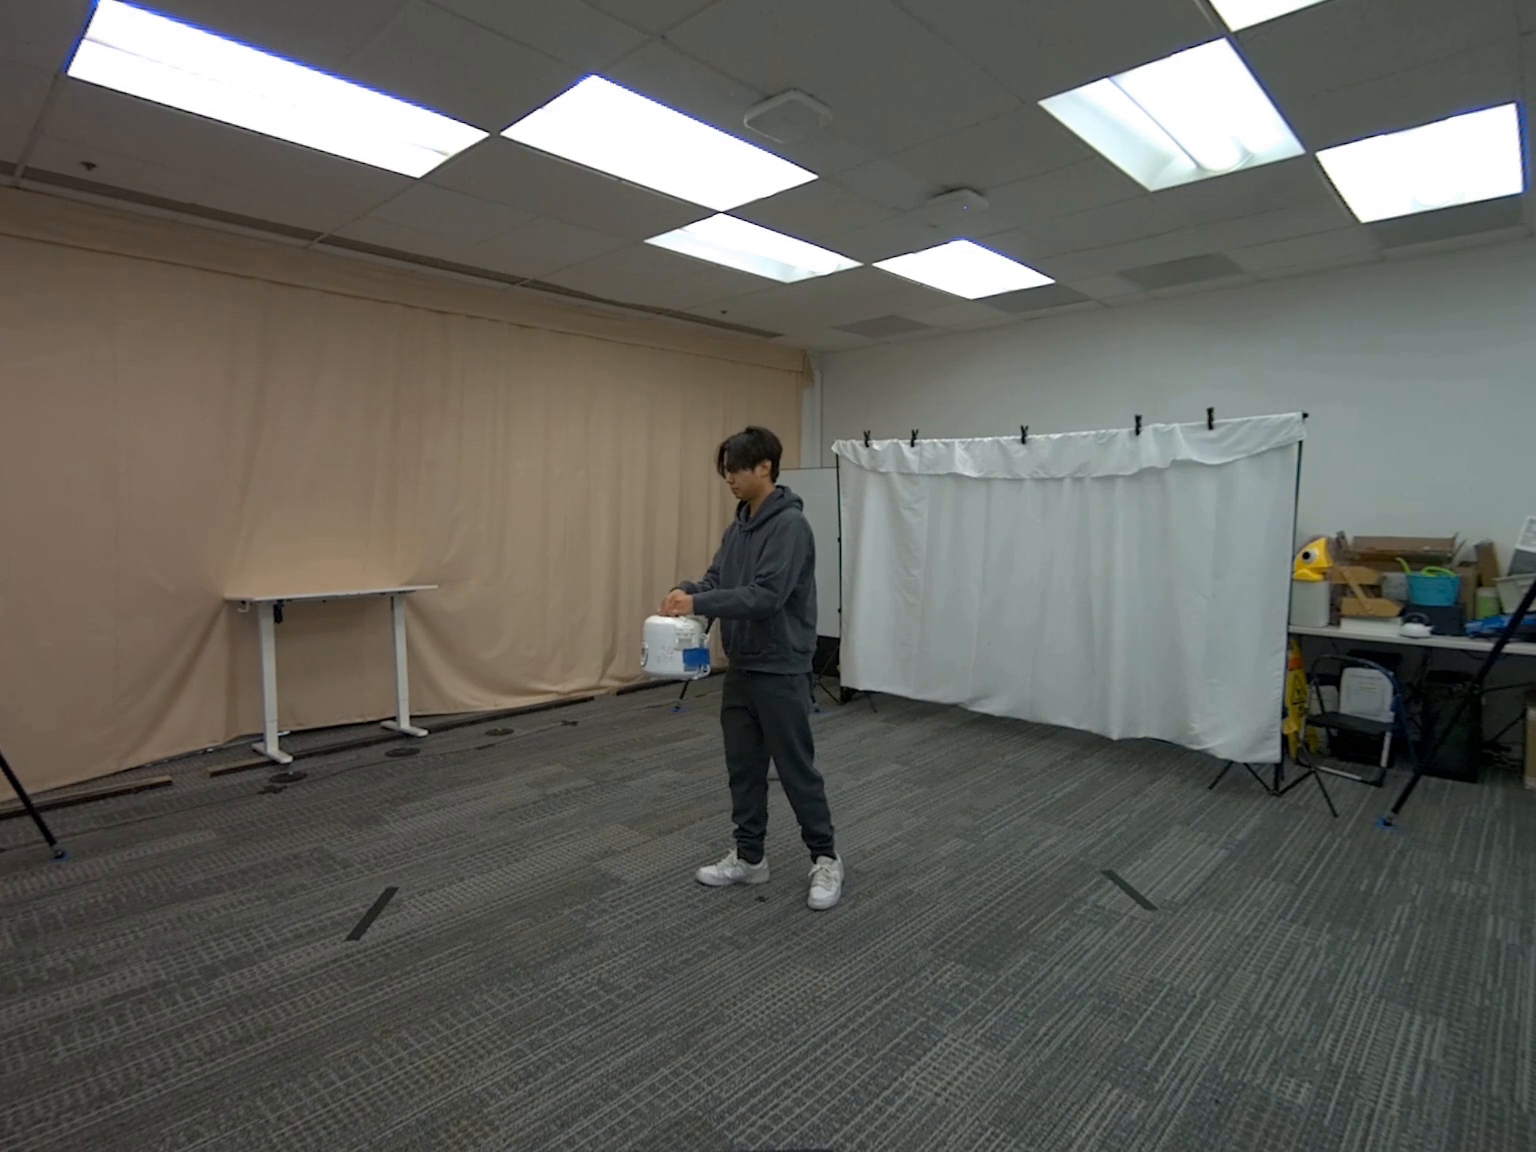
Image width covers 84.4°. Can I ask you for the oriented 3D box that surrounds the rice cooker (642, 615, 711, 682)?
[{"bbox_3d":[-0.317,0.227,2.882,0.212,0.233,0.226,5,-2,-25],"label":"rice cooker"}]
